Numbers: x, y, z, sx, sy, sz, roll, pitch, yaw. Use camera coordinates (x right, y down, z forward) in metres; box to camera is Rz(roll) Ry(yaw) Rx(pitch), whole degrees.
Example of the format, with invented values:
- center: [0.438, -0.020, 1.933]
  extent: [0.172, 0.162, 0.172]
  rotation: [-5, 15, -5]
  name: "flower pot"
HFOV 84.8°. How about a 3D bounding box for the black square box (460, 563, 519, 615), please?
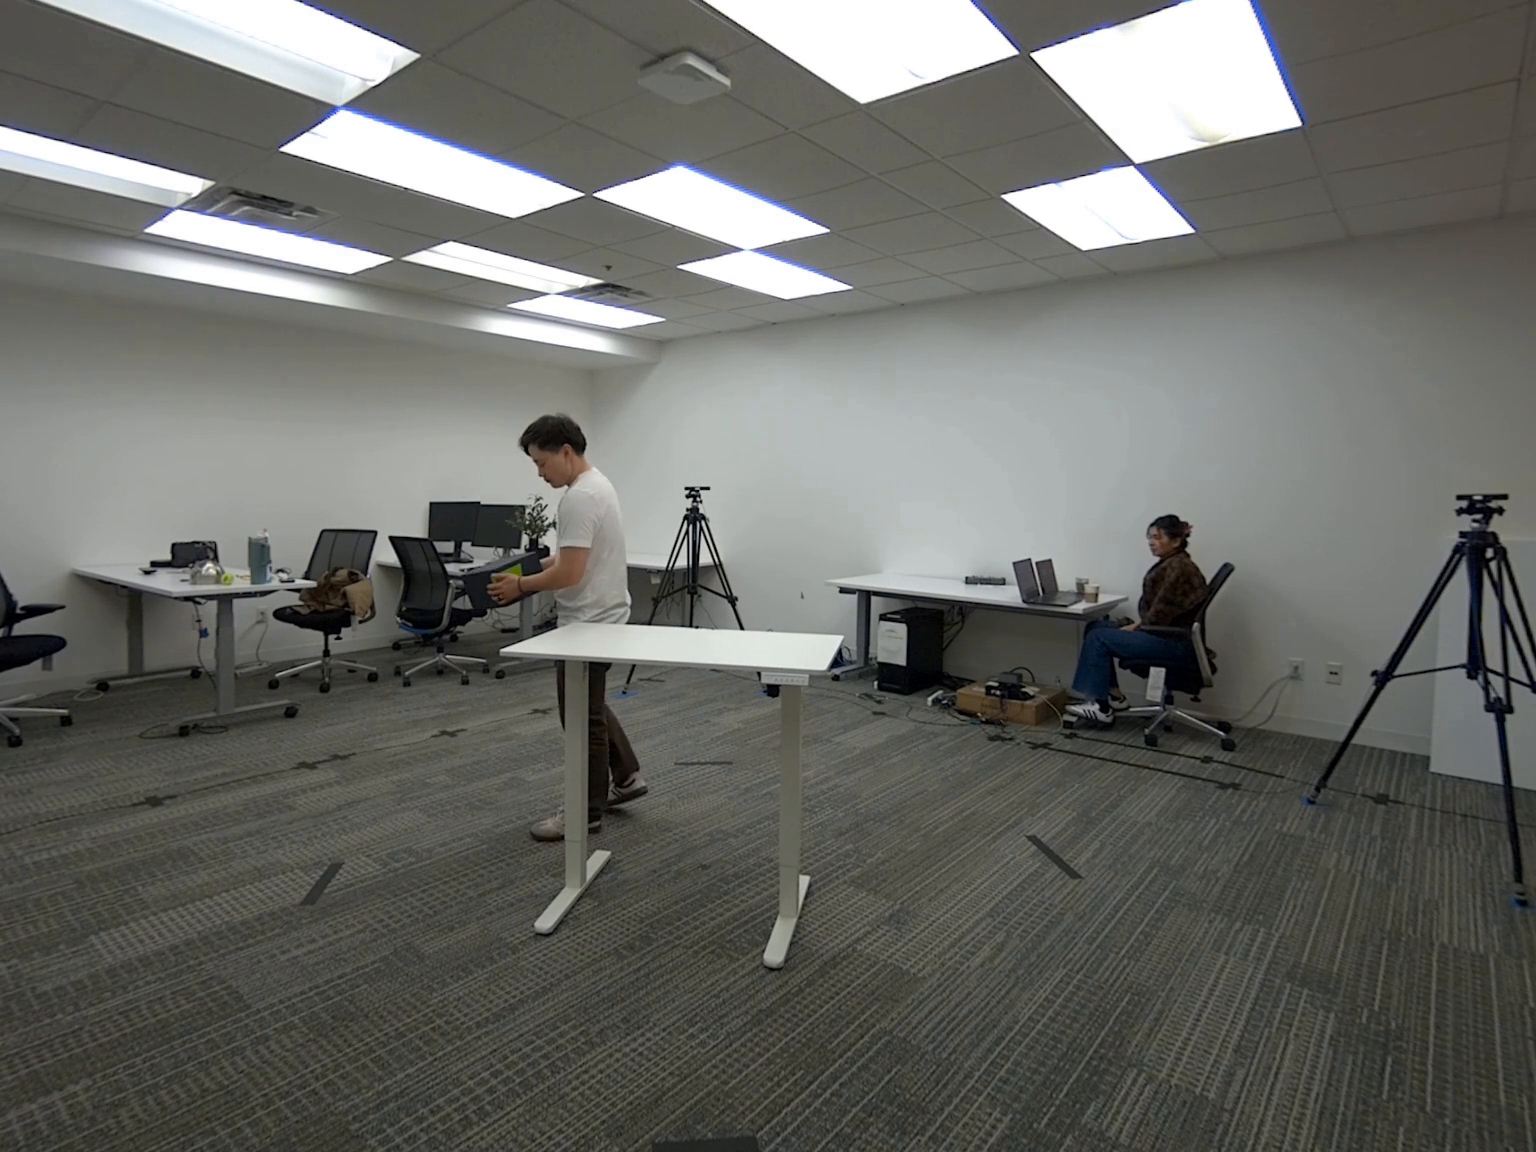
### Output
- center: [-1.060, 0.020, 3.380]
  extent: [0.223, 0.154, 0.225]
  rotation: [-7, 15, 37]
  name: "black square box"
